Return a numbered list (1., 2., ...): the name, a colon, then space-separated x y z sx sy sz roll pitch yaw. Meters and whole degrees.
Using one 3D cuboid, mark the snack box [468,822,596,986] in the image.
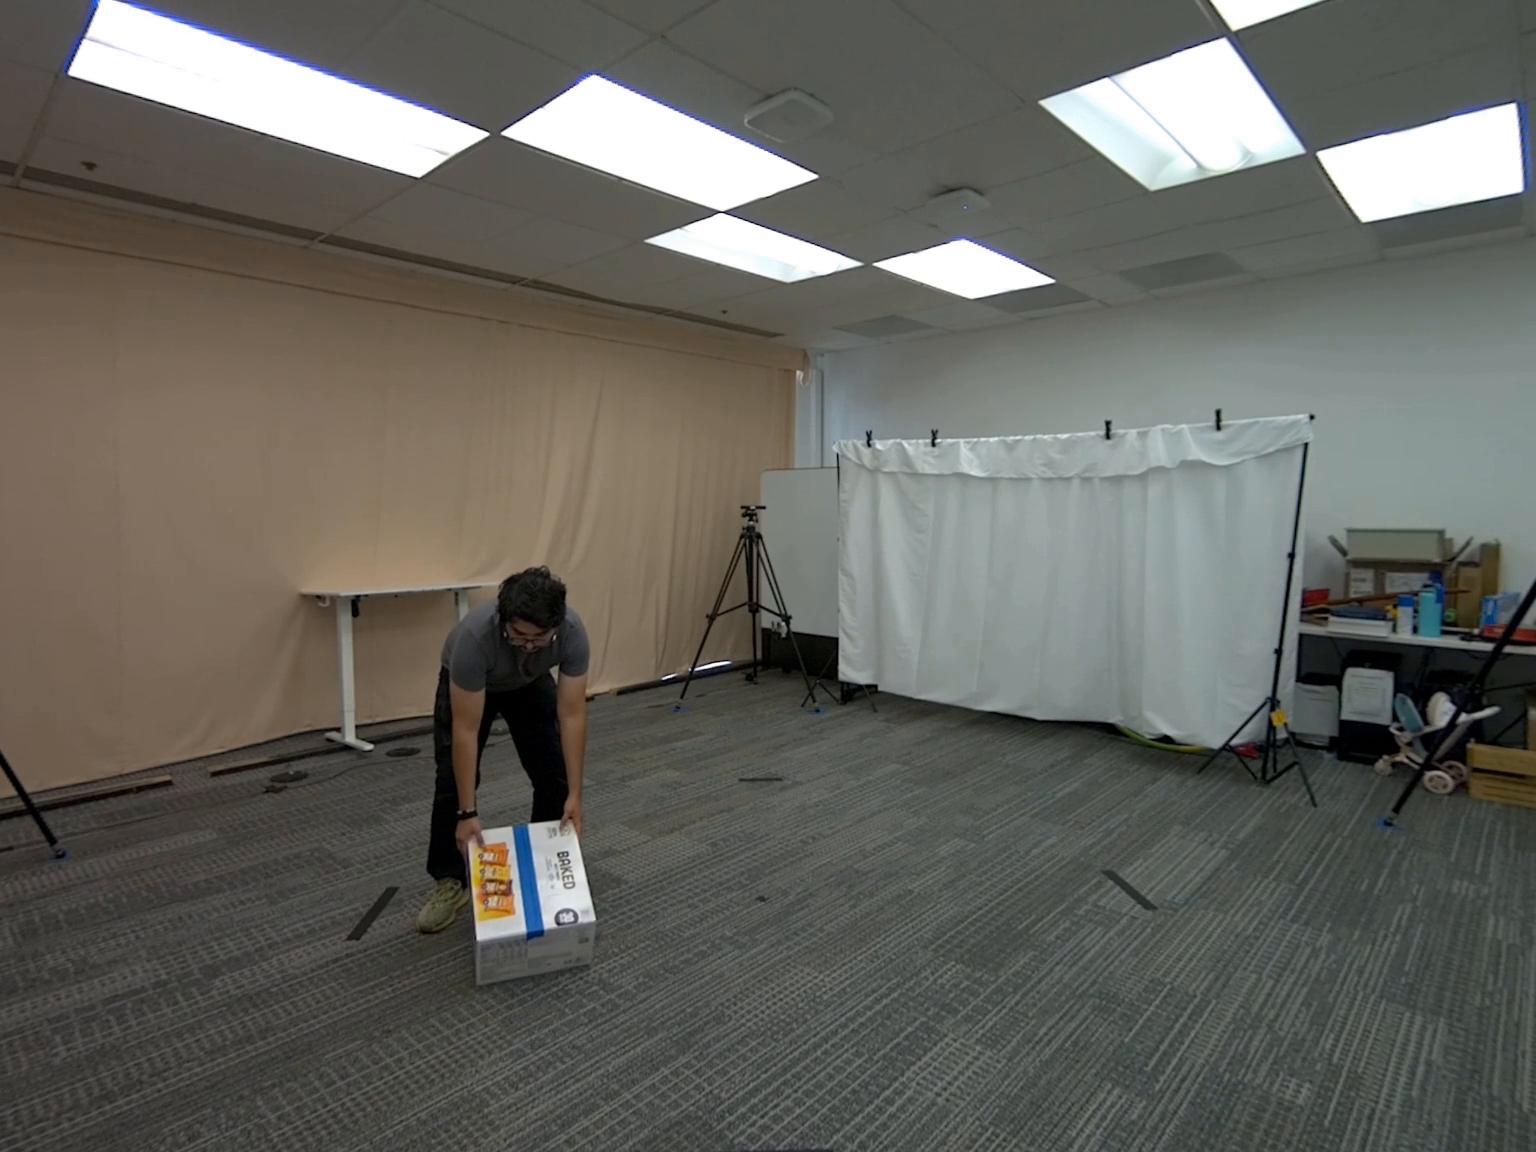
1. snack box: -0.747 1.003 2.614 0.333 0.203 0.418 -3 32 -21
